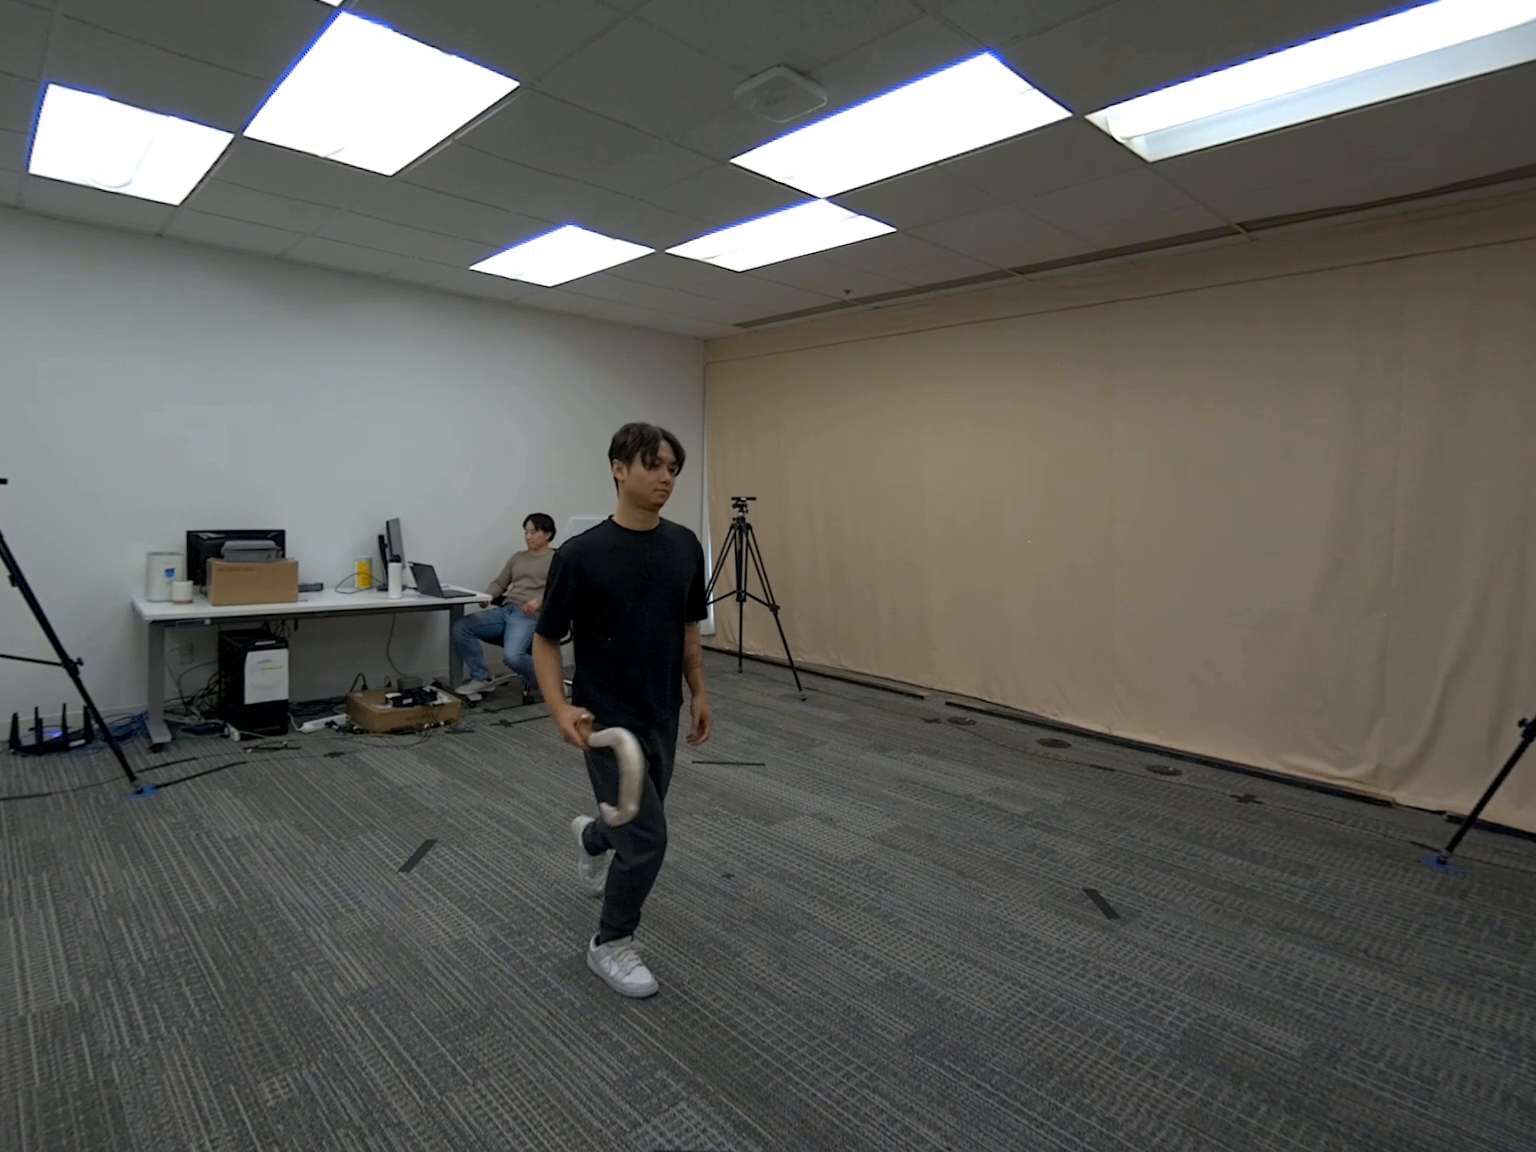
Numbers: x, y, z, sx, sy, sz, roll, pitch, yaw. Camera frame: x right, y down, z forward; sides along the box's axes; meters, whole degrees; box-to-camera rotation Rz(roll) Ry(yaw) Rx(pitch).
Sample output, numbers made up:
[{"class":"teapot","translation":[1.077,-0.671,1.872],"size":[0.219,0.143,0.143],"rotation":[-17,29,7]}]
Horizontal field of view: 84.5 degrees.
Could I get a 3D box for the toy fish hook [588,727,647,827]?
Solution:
[{"class":"toy fish hook","translation":[-0.416,0.460,2.088],"size":[0.047,0.225,0.517],"rotation":[9,-1,-27]}]
